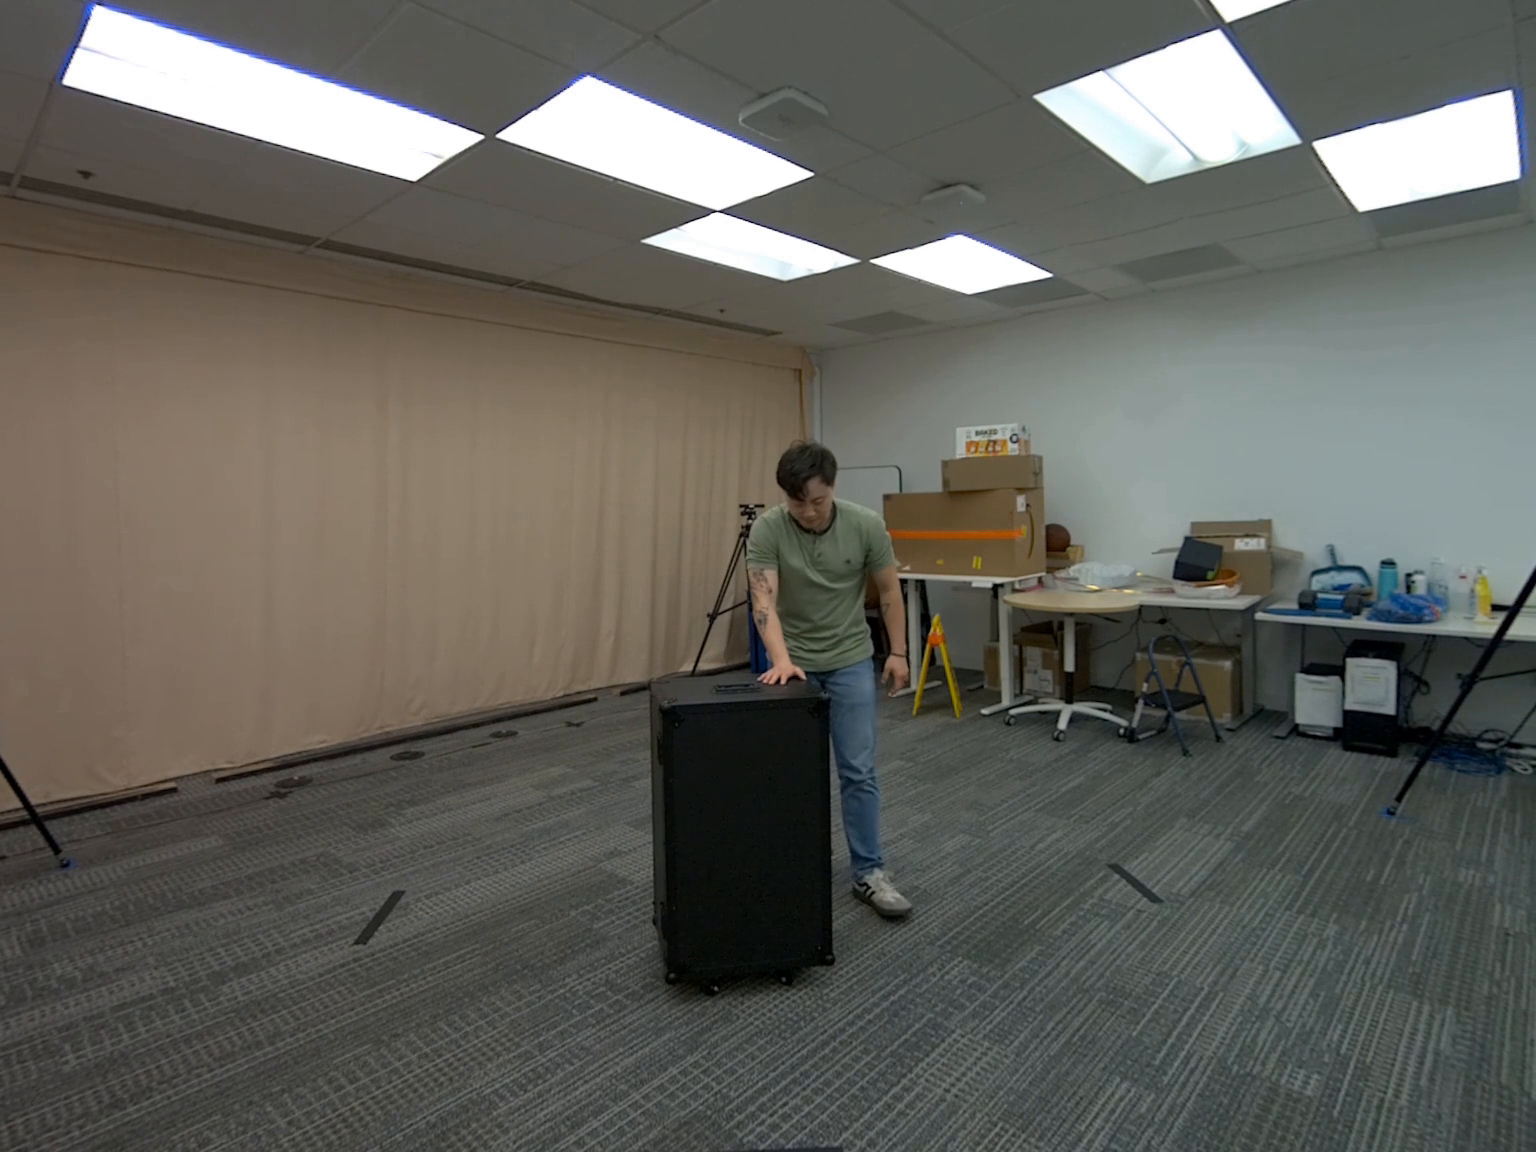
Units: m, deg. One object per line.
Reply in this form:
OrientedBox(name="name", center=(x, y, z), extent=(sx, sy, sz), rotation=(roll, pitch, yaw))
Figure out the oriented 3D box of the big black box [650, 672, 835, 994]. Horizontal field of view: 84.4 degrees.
OrientedBox(name="big black box", center=(-0.096, 0.701, 2.529), extent=(0.515, 0.859, 0.402), rotation=(-2, 3, -11))
